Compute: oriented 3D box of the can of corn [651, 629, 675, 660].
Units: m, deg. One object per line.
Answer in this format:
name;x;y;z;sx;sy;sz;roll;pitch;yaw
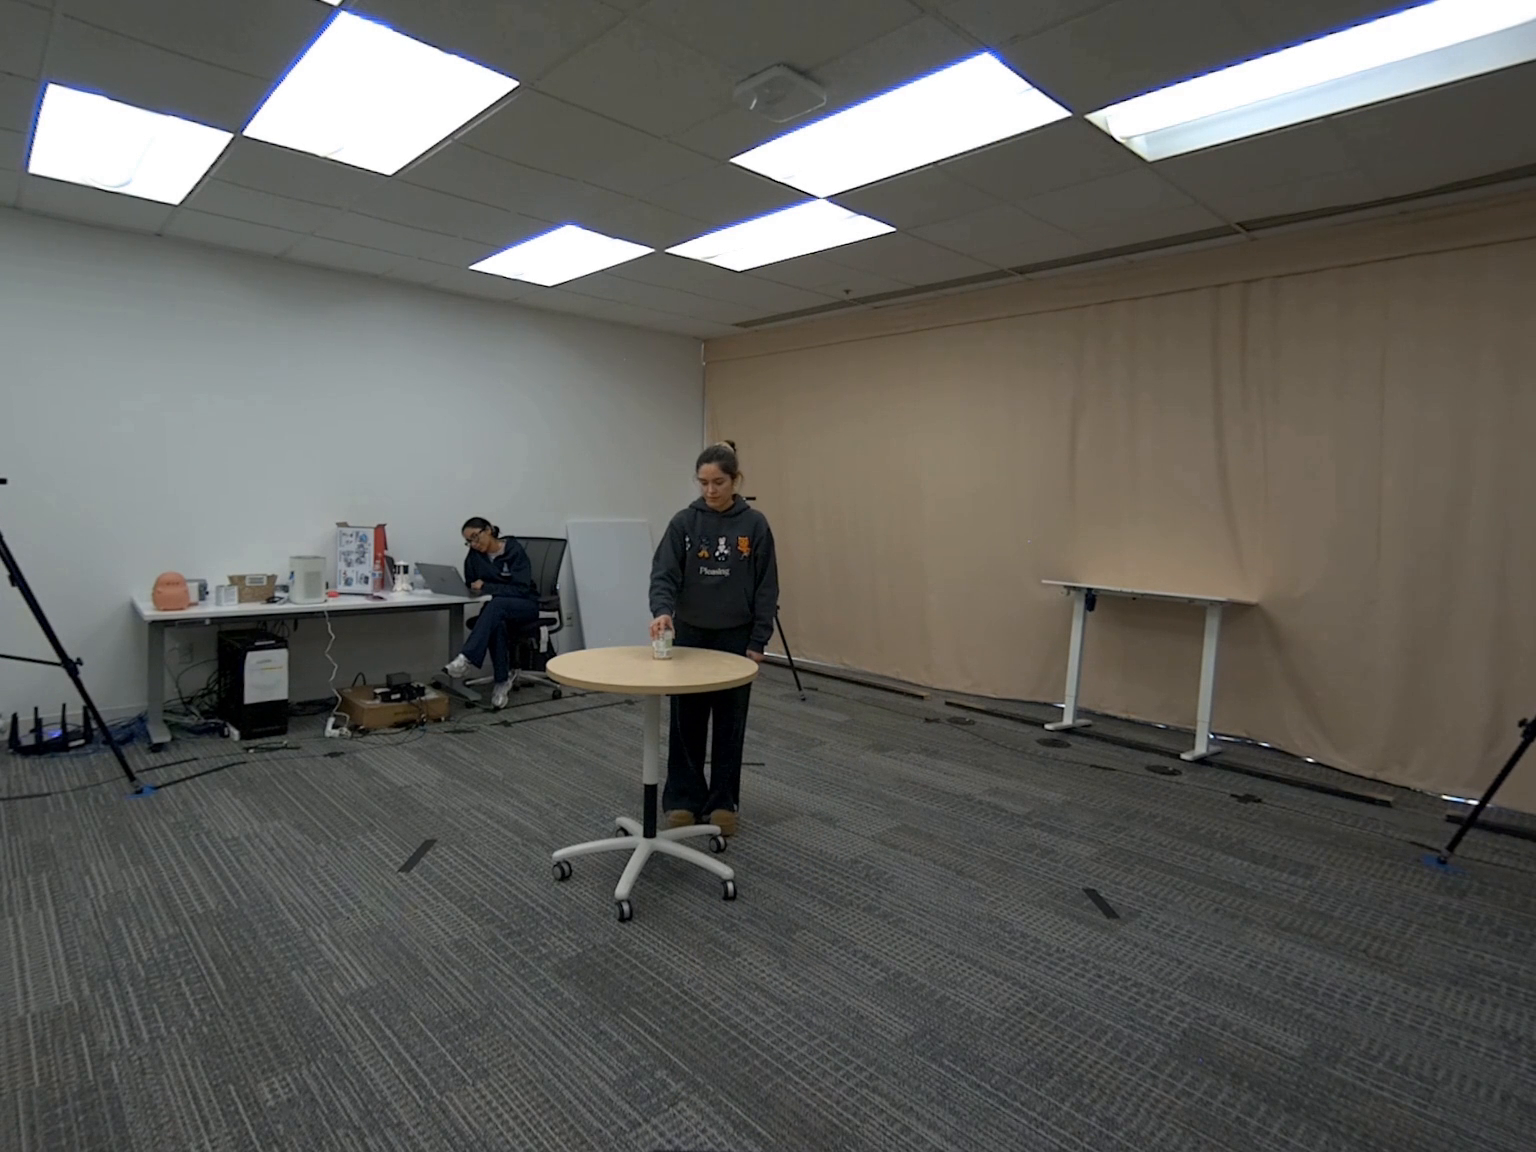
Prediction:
can of corn;-0.420;0.260;3.181;0.074;0.111;0.074;1;-2;-1
